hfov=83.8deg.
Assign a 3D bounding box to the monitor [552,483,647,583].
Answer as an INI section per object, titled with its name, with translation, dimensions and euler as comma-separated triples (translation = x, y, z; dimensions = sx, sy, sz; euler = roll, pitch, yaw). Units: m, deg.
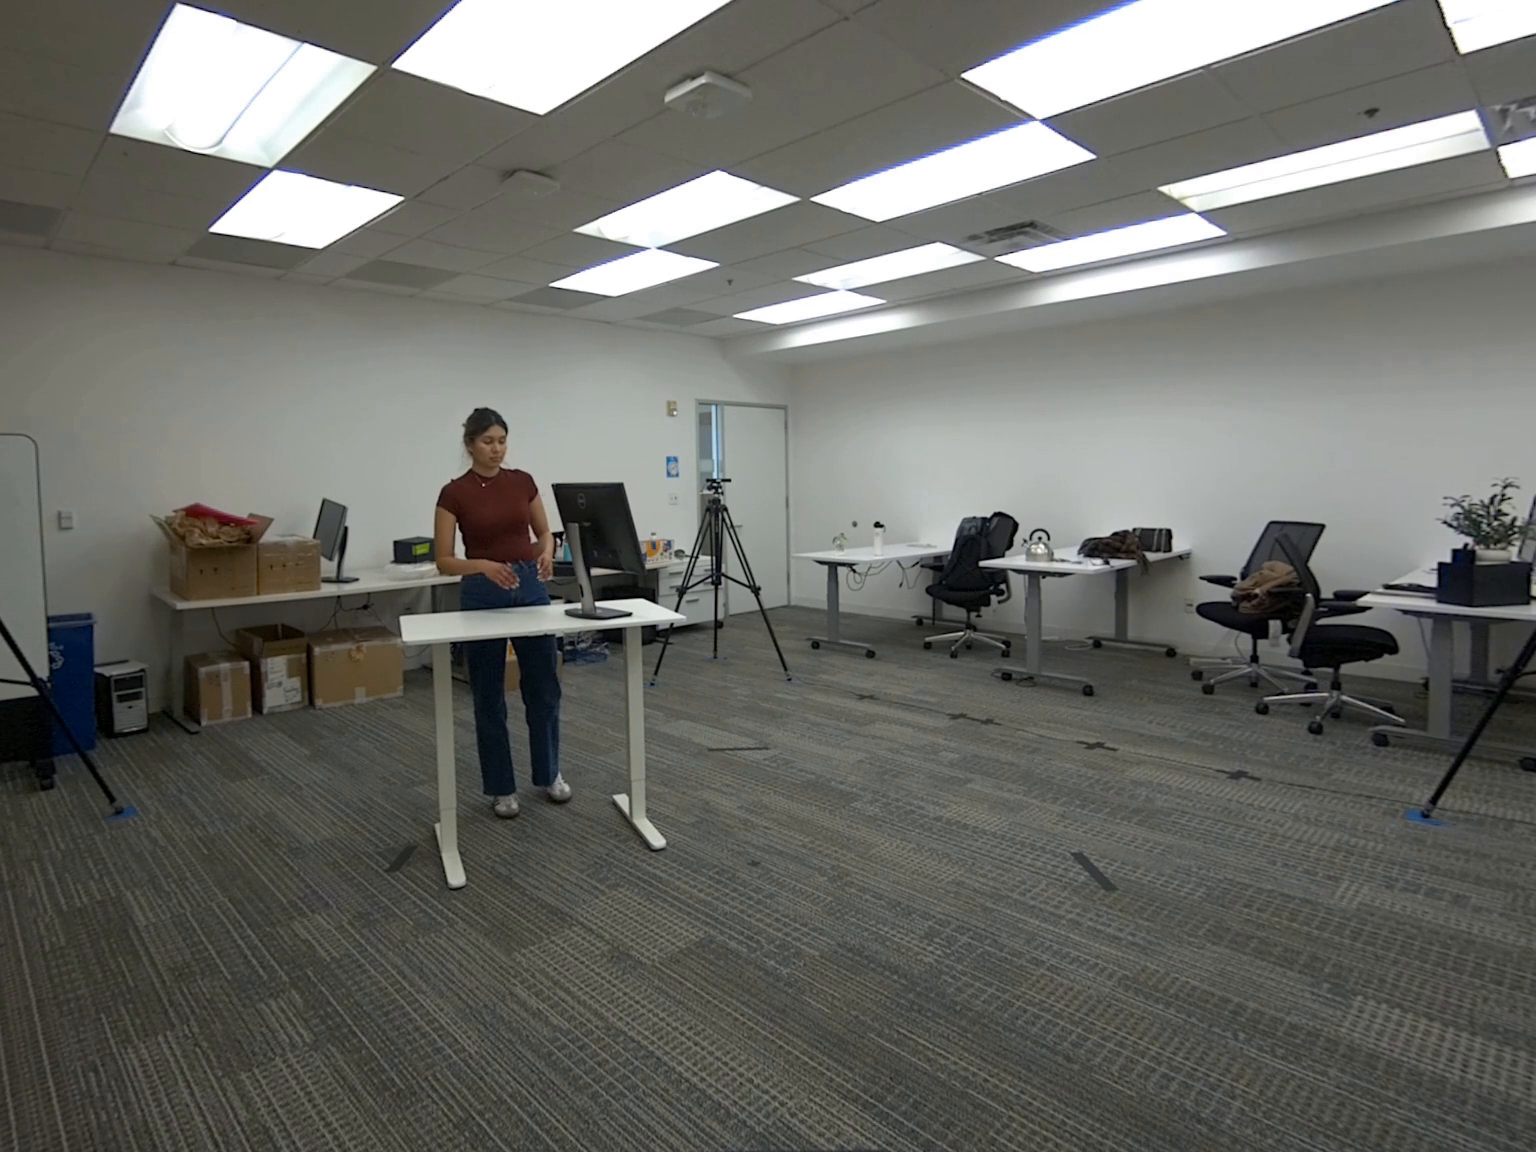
[monitor]
translation = -0.683, -0.099, 3.306
dimensions = 0.182, 0.520, 0.556
euler = -7, 8, -41
